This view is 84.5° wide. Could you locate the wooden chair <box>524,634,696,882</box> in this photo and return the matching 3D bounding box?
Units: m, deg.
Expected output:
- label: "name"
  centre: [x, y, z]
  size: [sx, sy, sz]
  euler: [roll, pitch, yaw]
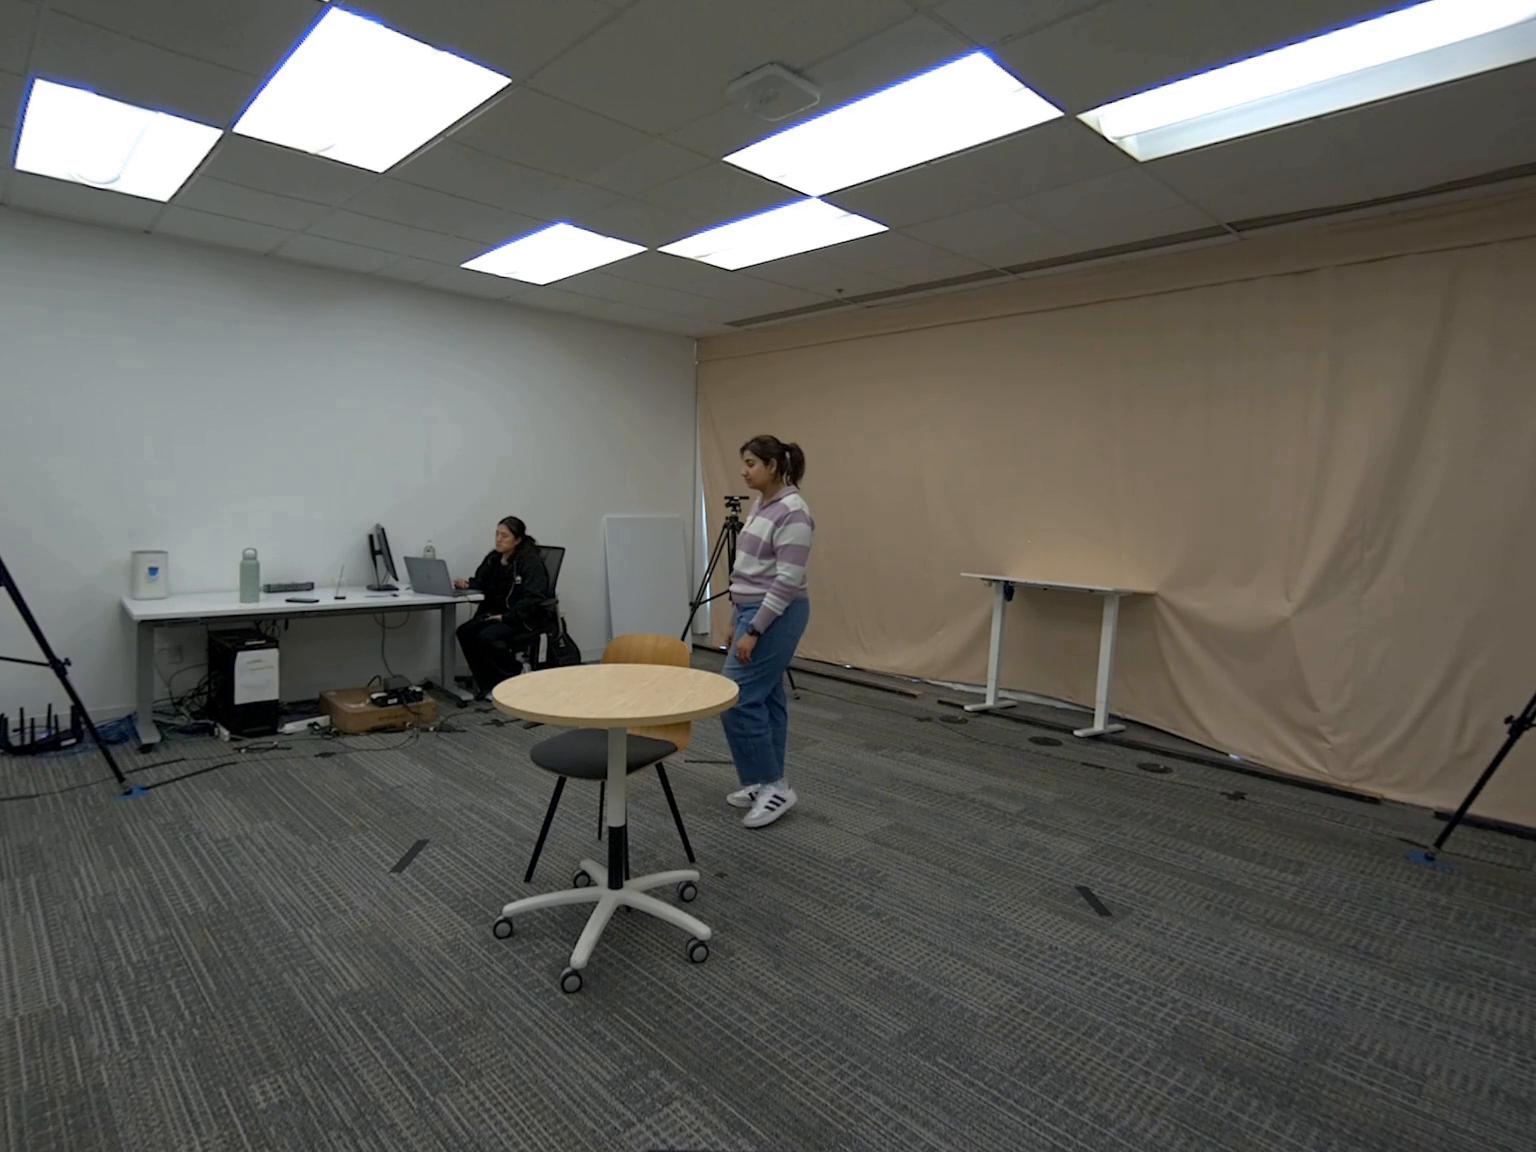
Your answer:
- label: "wooden chair"
  centre: [-0.567, 0.673, 3.069]
  size: [0.488, 0.877, 0.512]
  euler: [3, 0, 26]
